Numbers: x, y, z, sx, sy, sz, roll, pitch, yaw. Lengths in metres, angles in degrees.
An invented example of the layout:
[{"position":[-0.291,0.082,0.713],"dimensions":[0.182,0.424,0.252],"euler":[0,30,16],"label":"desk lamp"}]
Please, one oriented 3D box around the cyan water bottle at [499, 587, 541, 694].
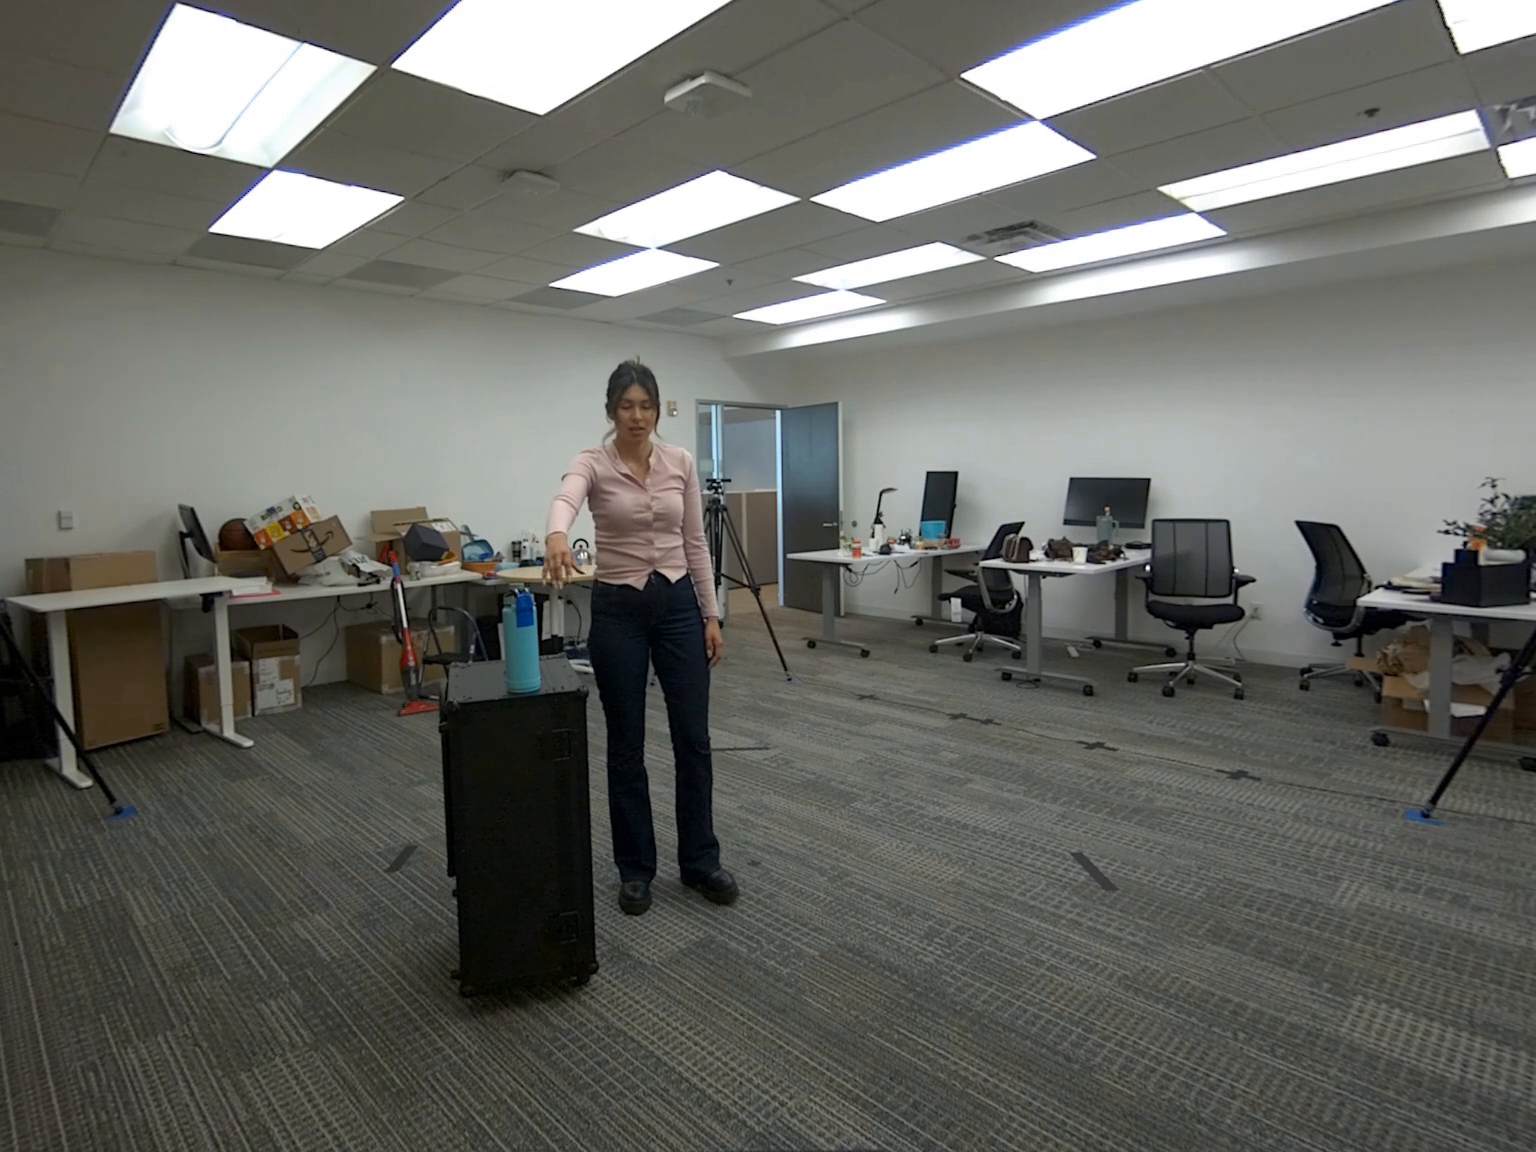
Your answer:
[{"position":[-0.659,0.165,2.276],"dimensions":[0.092,0.282,0.093],"euler":[-2,4,-2],"label":"cyan water bottle"}]
